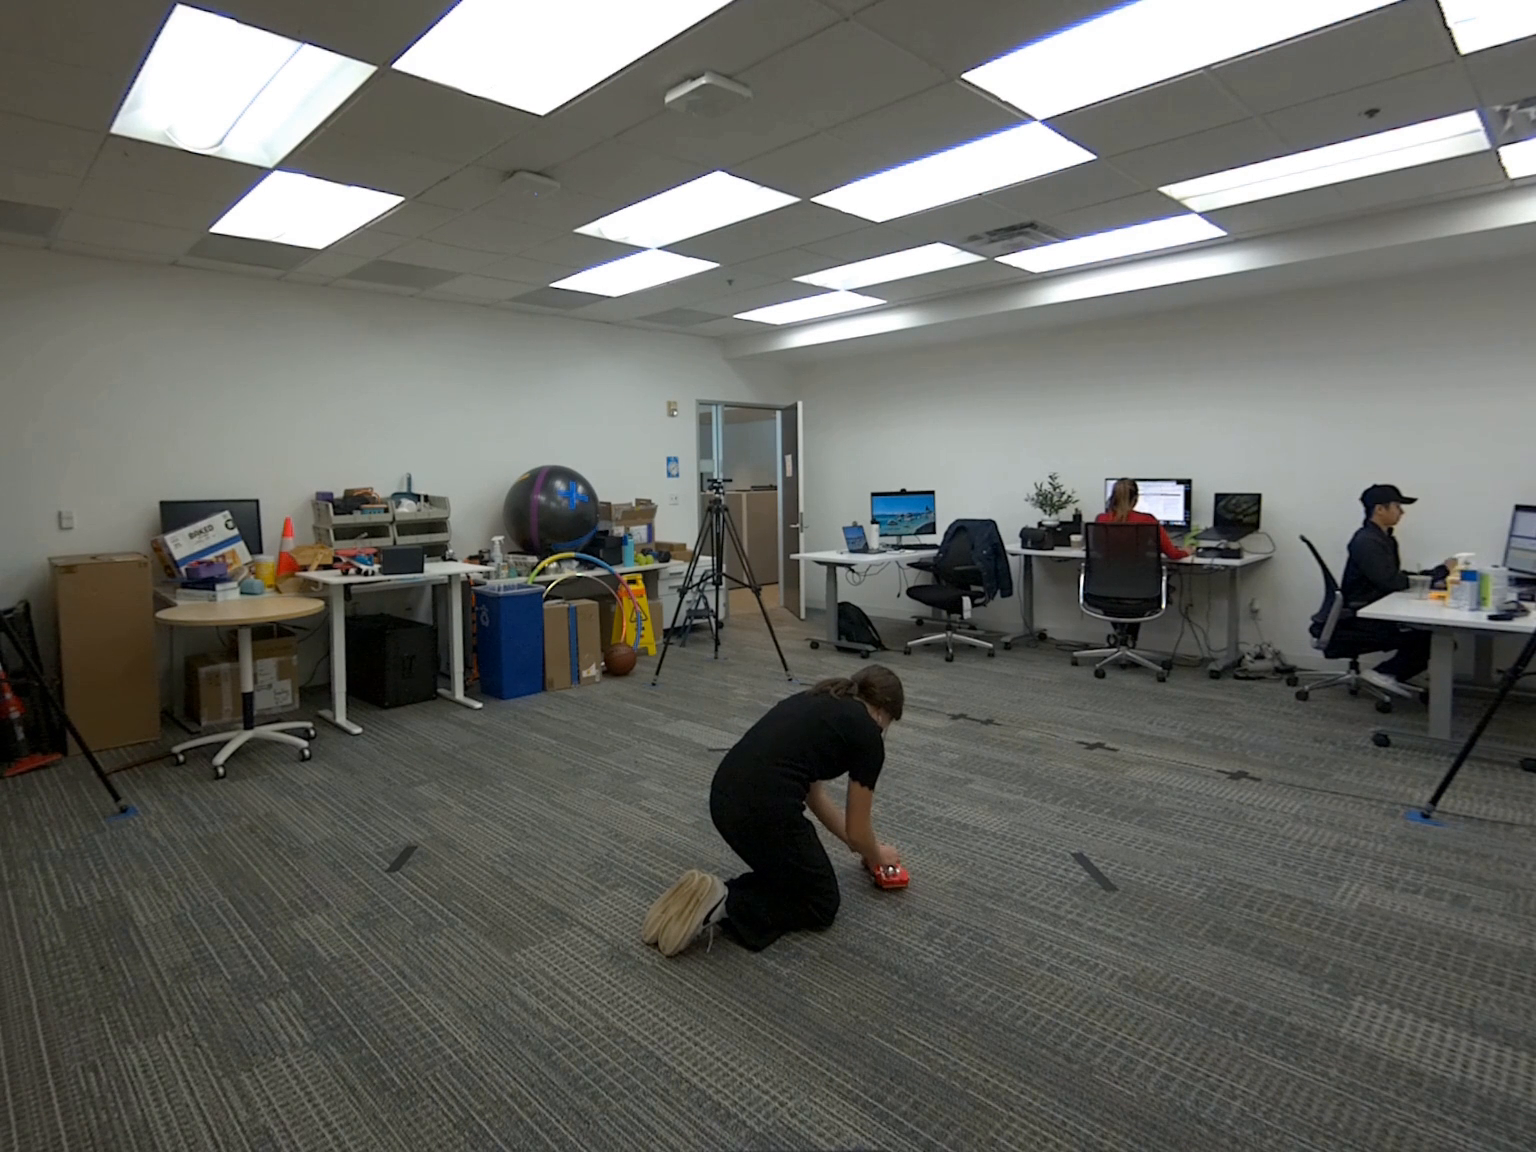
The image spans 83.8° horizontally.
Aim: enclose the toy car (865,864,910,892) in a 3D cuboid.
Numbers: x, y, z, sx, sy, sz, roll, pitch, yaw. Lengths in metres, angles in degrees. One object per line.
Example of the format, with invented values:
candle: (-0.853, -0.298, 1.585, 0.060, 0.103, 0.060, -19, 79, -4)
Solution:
toy car: (0.413, 1.022, 2.960, 0.130, 0.084, 0.254, -2, -6, -6)
